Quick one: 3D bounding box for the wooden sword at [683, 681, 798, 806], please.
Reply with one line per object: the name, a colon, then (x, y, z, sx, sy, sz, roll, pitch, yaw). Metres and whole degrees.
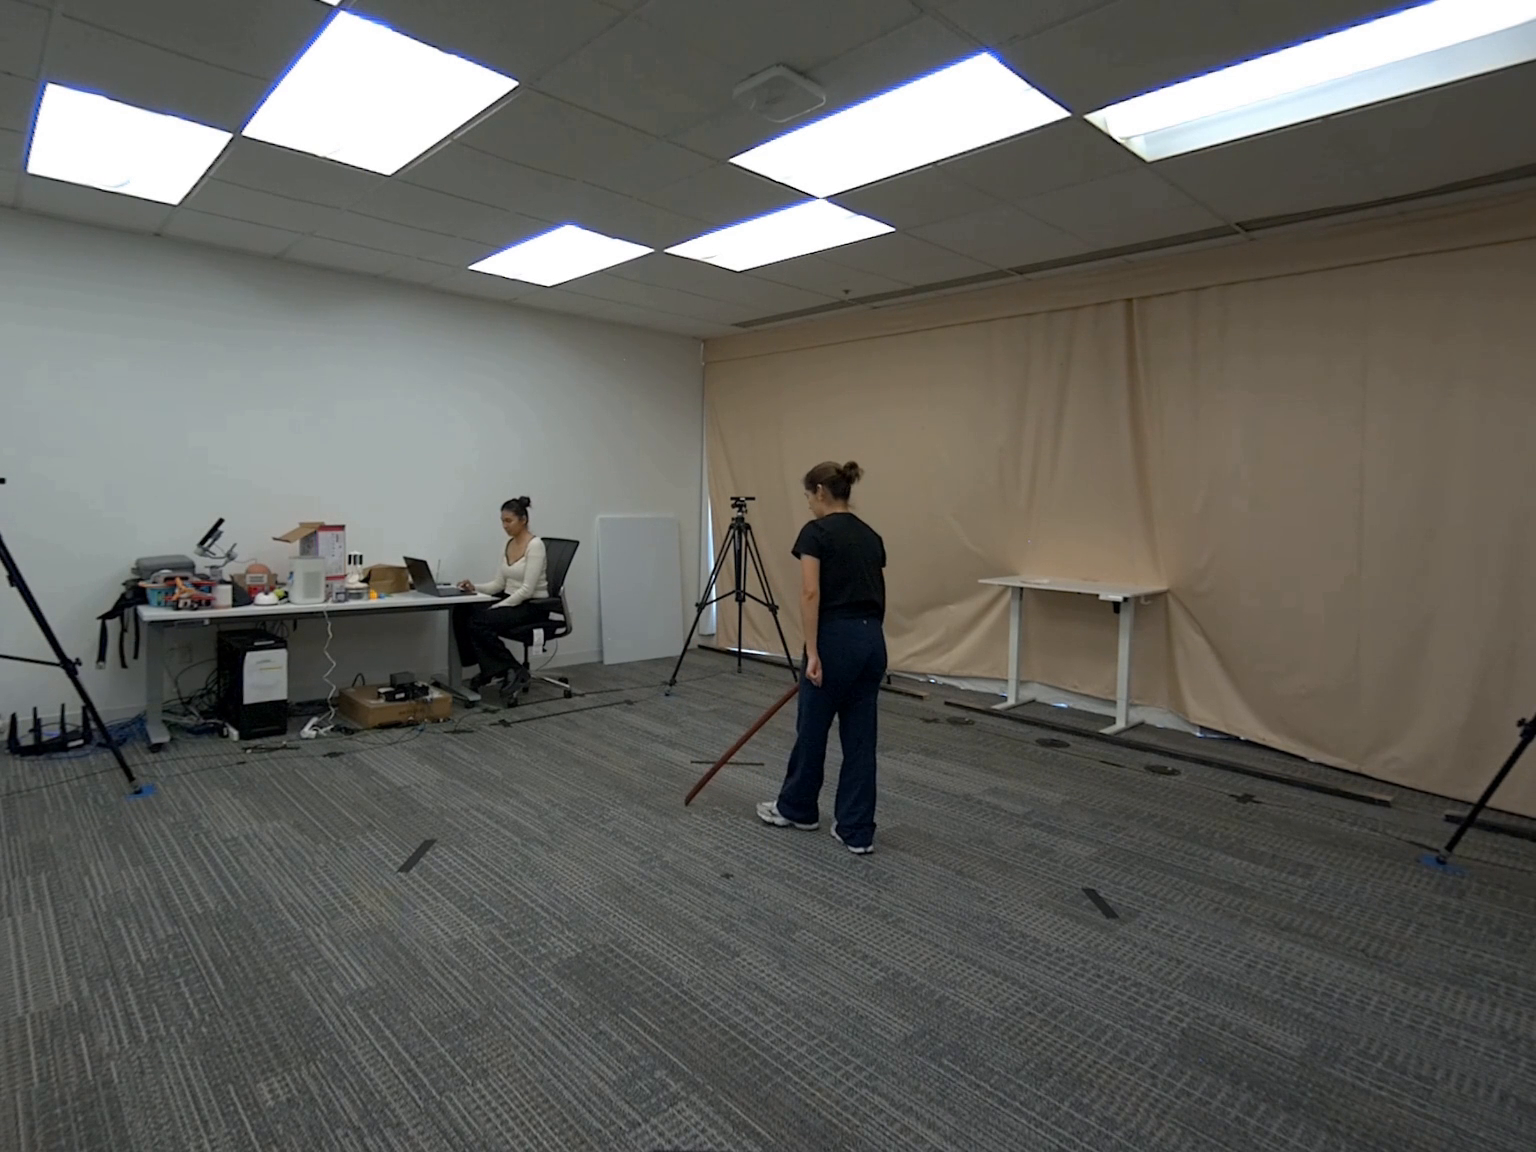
wooden sword: (-0.028, 0.653, 3.771, 0.025, 1.025, 0.050, 44, 1, 35)
